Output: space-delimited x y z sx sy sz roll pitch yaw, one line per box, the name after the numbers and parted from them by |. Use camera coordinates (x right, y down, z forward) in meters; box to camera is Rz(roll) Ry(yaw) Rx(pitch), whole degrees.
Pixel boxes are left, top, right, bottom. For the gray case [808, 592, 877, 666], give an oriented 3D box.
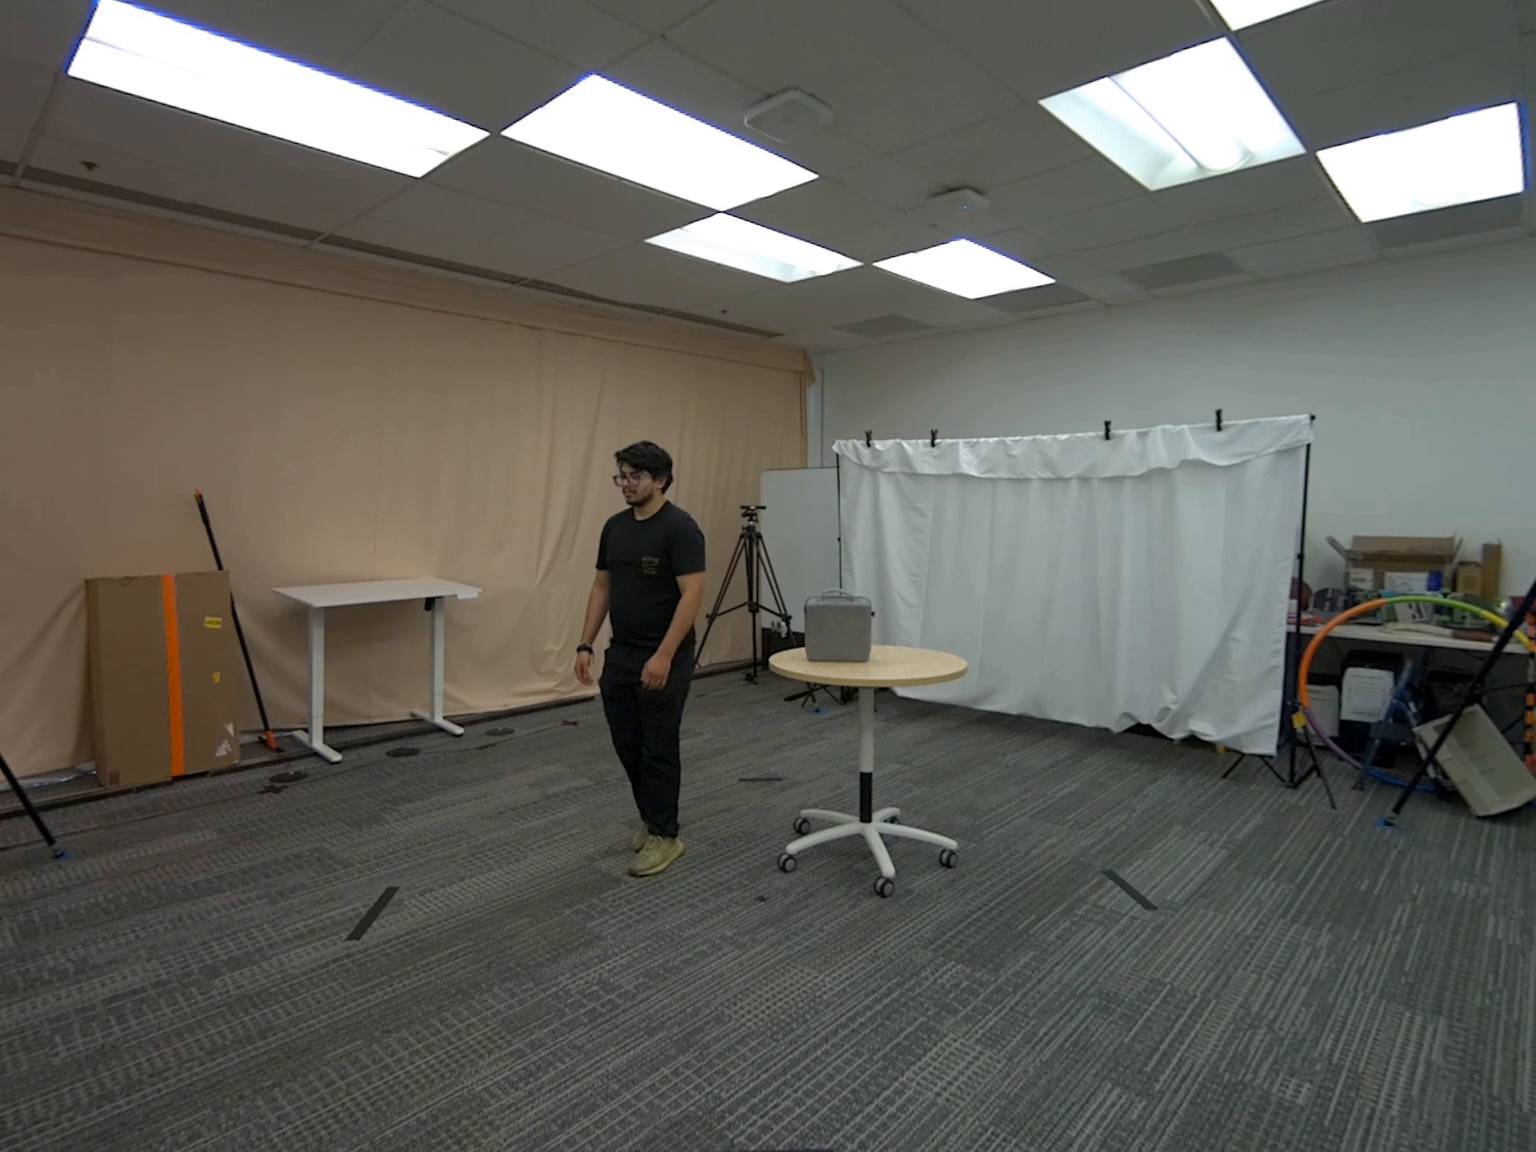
0.284 0.201 3.275 0.259 0.258 0.104 0 13 6 | gray case
